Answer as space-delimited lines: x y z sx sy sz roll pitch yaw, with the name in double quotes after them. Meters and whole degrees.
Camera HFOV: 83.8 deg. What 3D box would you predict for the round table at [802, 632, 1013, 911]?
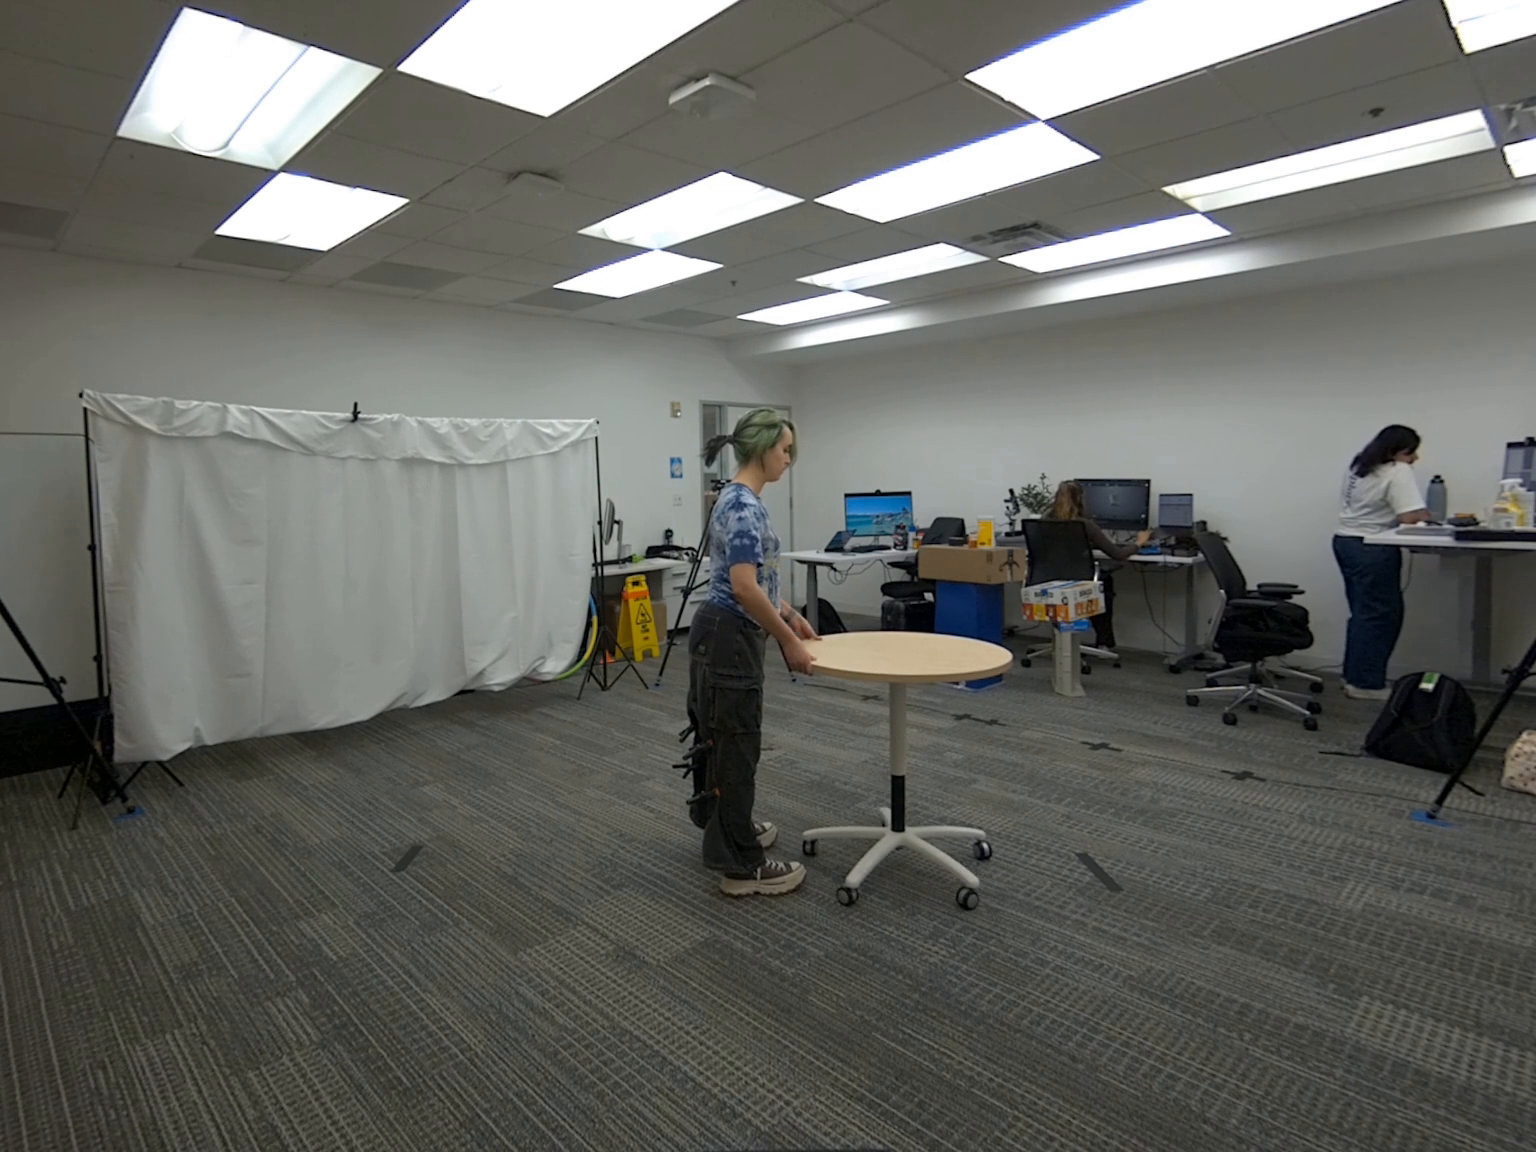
0.460 0.654 3.030 0.763 0.791 0.768 -1 5 -2 "round table"
